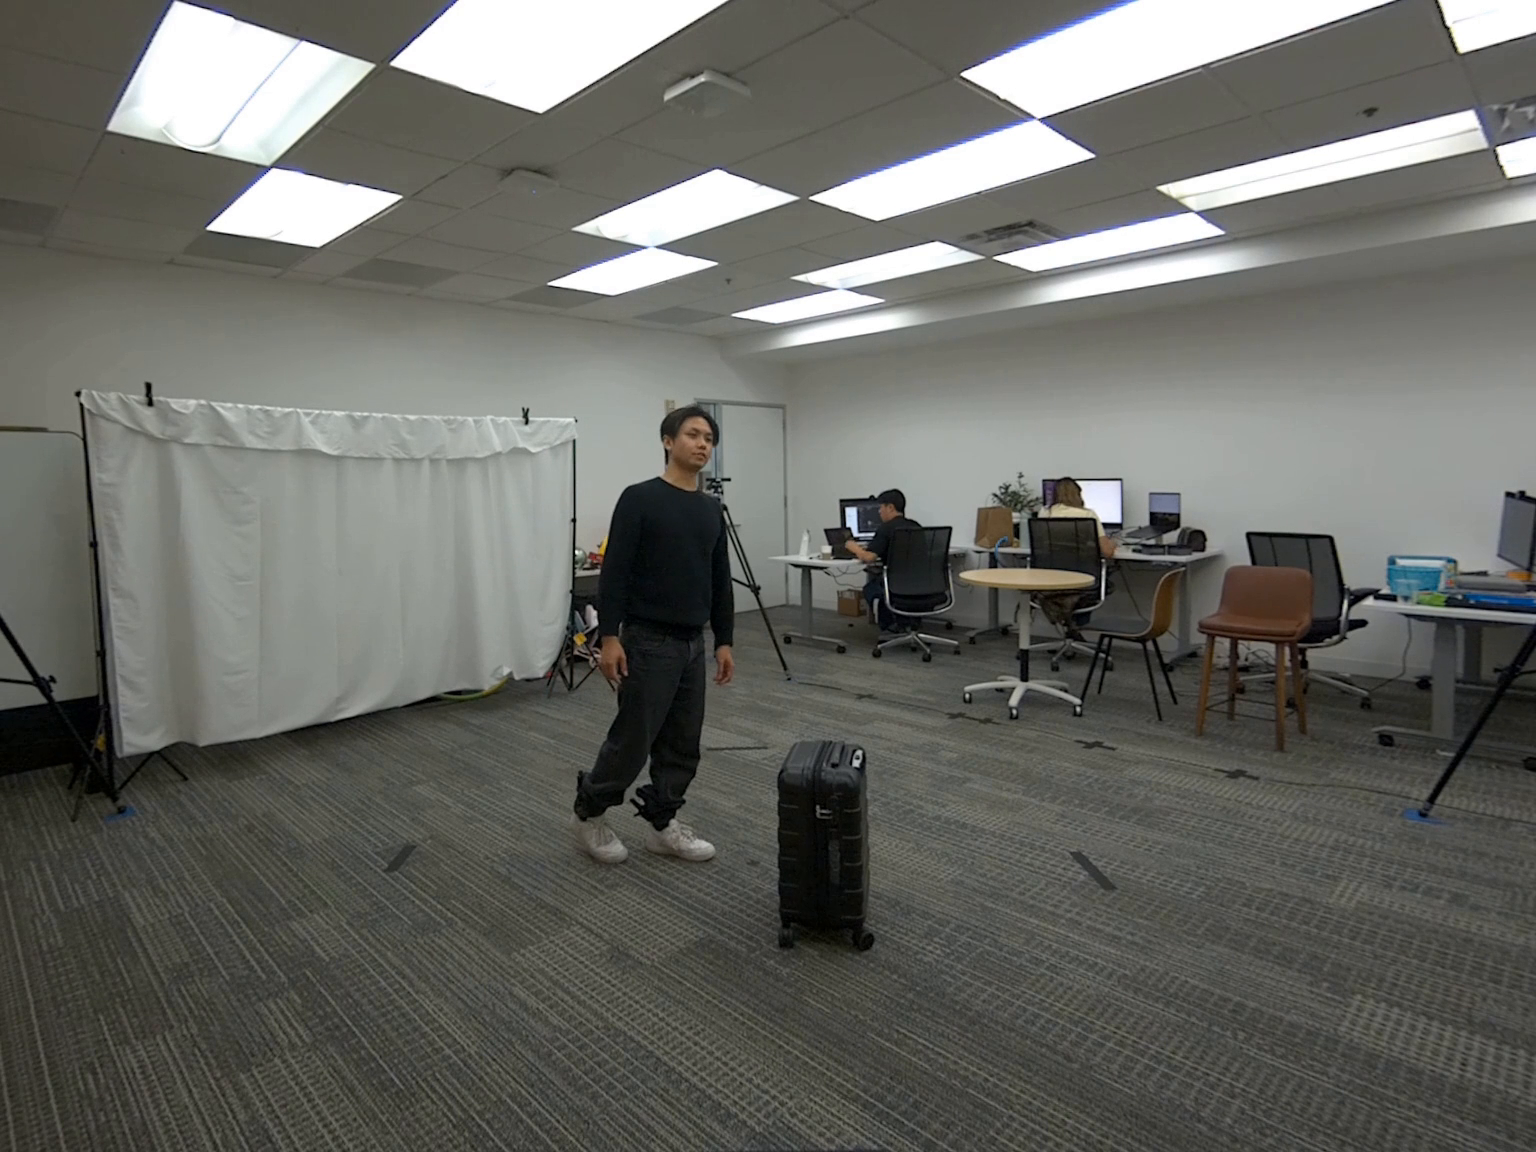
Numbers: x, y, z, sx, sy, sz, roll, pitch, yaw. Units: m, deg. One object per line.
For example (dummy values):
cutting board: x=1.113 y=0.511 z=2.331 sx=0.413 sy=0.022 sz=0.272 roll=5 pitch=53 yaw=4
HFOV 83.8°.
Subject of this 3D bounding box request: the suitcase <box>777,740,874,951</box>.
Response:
suitcase: x=0.180 y=0.809 z=2.672 sx=0.251 sy=0.547 sz=0.372 roll=-1 pitch=5 yaw=12
